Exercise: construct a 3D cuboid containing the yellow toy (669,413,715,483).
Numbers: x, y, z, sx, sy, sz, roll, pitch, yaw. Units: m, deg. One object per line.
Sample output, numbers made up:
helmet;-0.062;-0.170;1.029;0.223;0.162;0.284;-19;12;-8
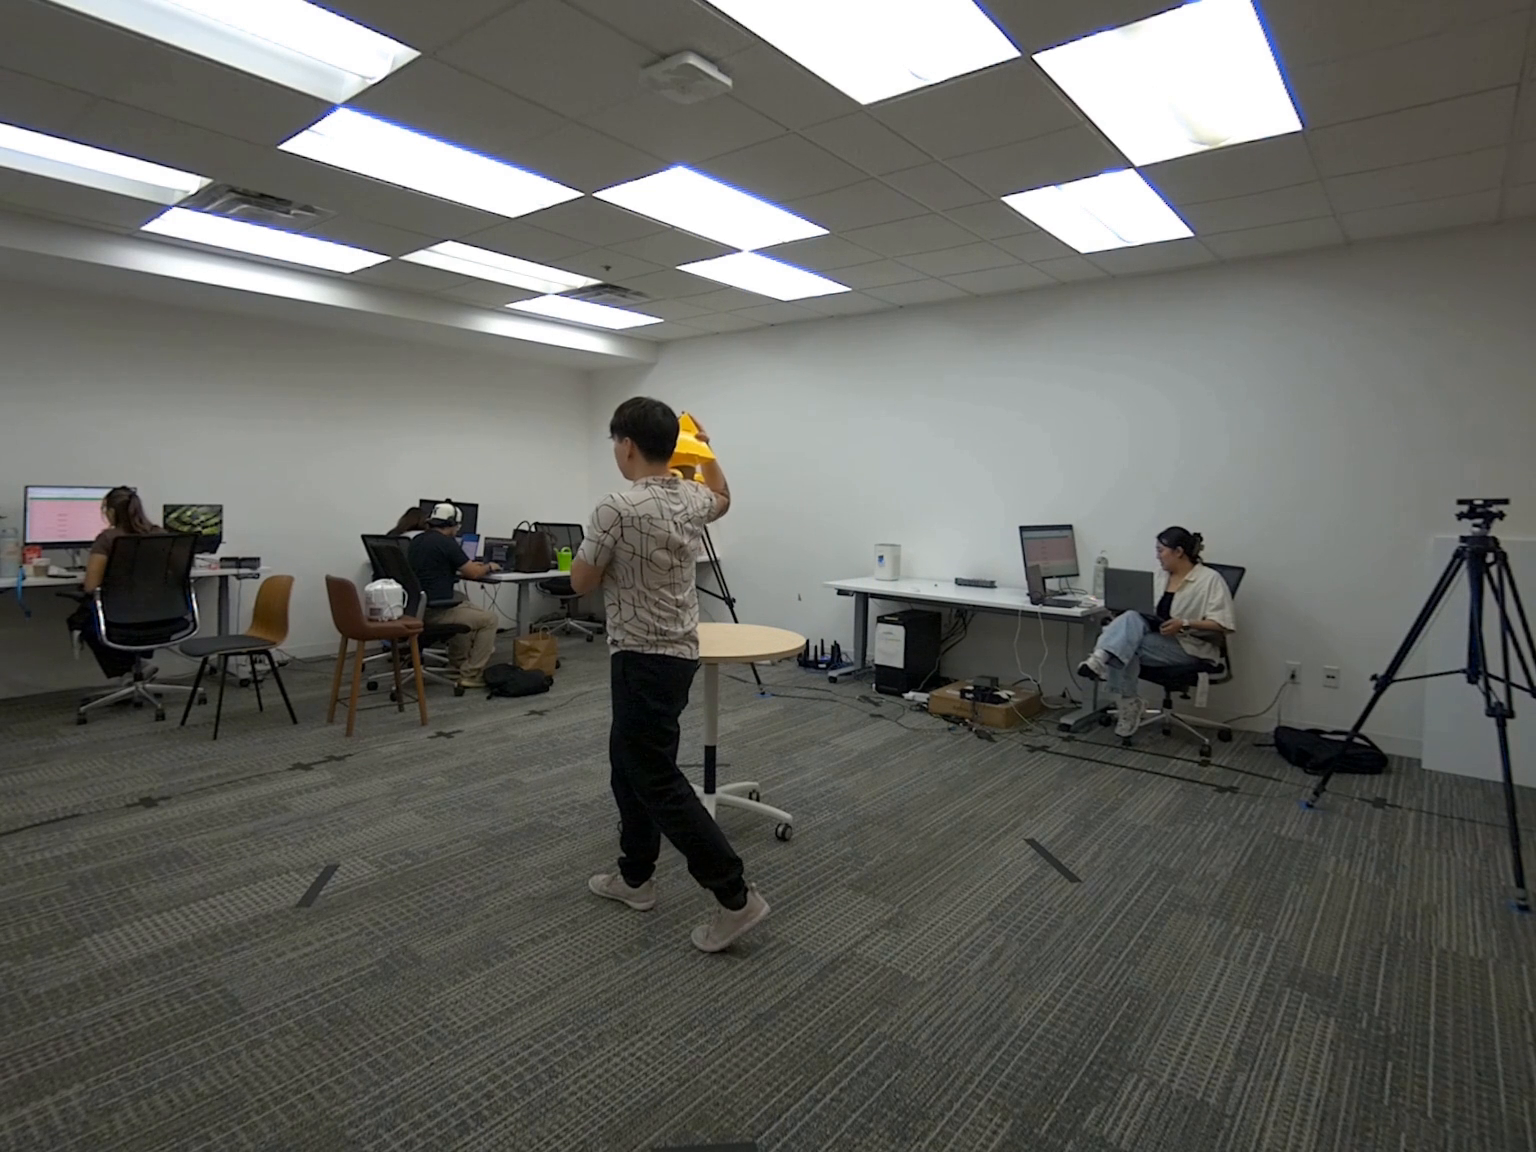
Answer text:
yellow toy;-0.323;-0.432;2.884;0.198;0.232;0.198;3;-7;-39
